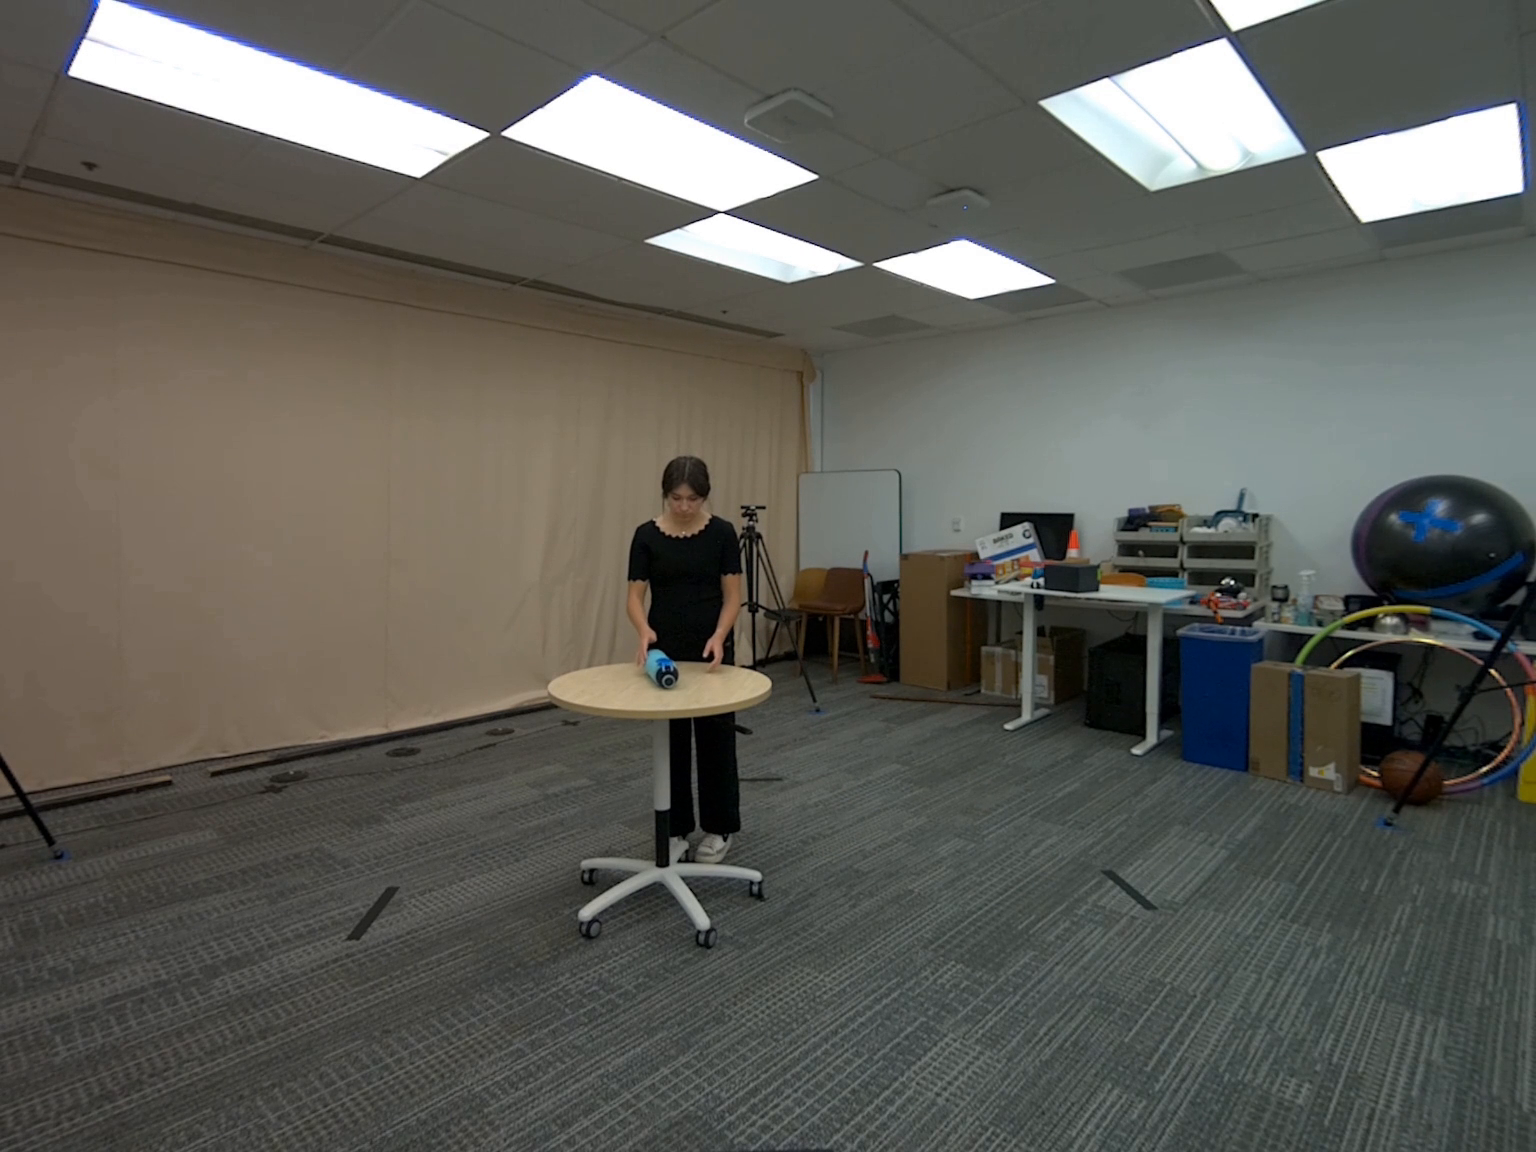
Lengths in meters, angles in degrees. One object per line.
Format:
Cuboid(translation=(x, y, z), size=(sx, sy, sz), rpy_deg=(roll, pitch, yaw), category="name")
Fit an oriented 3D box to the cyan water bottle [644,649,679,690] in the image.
Cuboid(translation=(-0.364, 0.320, 2.921), size=(0.091, 0.092, 0.287), rpy_deg=(-1, 4, -12), category="cyan water bottle")
